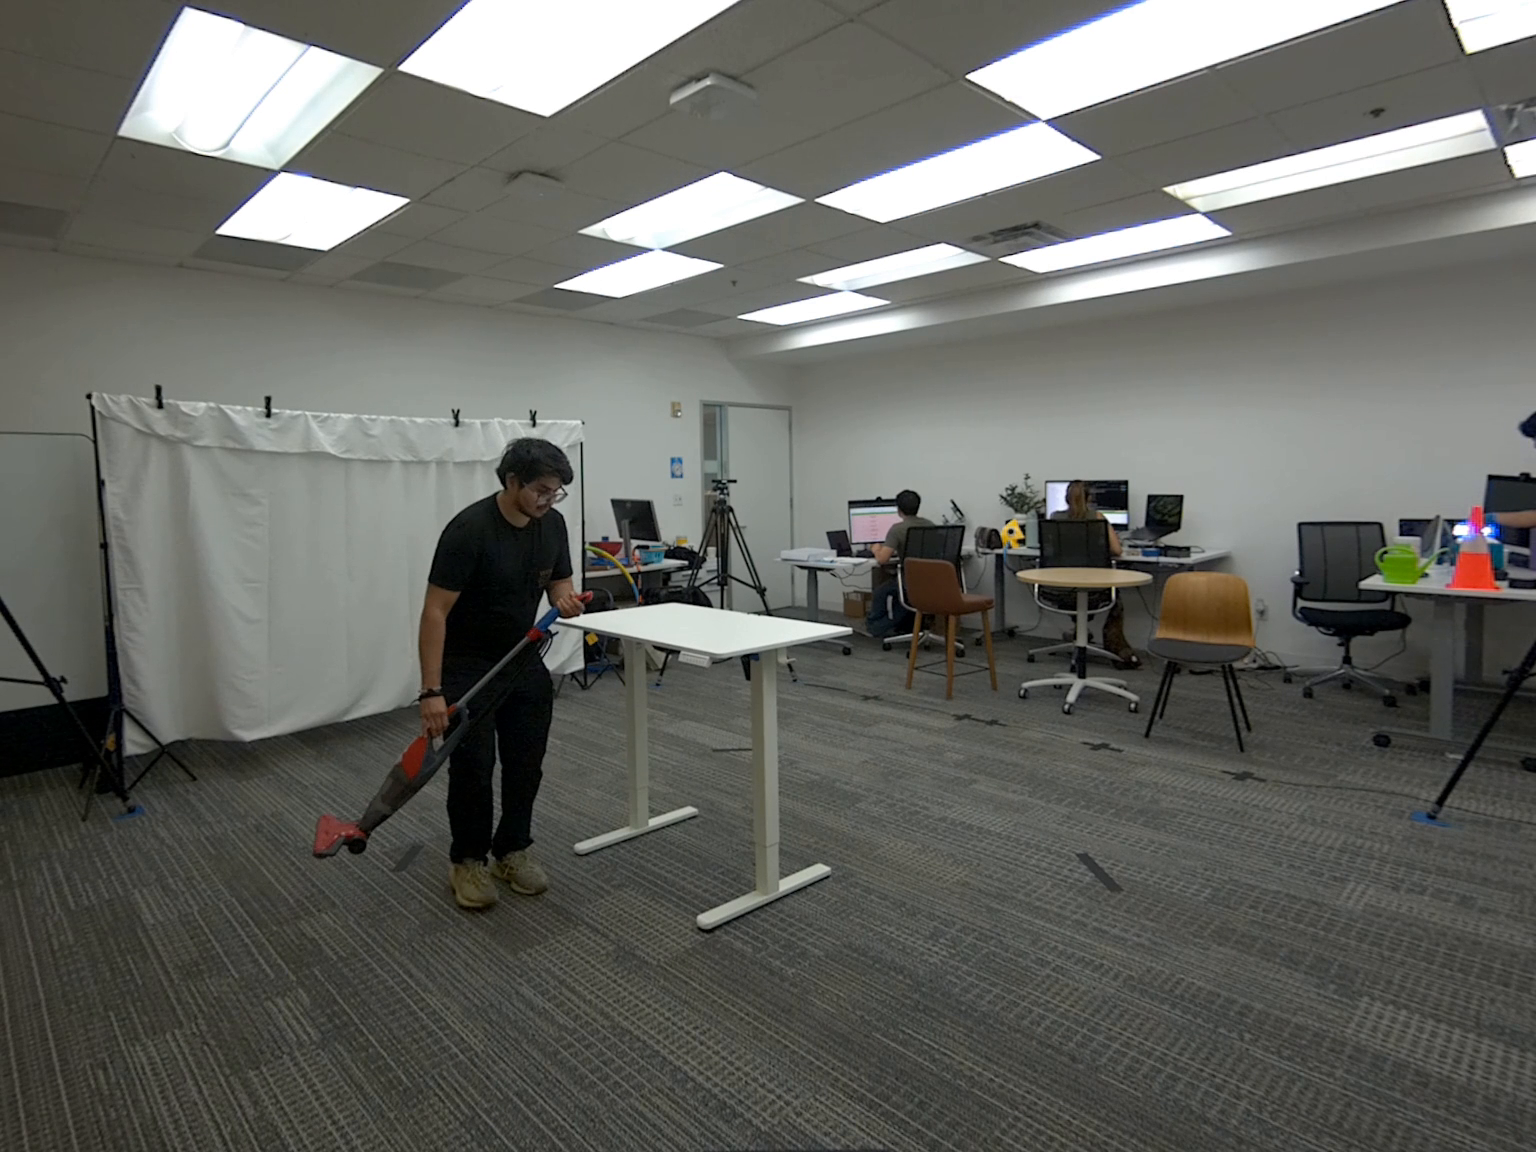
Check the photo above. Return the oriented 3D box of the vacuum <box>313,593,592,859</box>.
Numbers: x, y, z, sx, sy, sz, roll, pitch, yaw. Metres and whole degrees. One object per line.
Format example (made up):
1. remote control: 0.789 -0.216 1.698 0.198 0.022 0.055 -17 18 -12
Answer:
1. vacuum: -0.942 0.443 2.682 1.048 0.139 0.261 -45 33 -12
